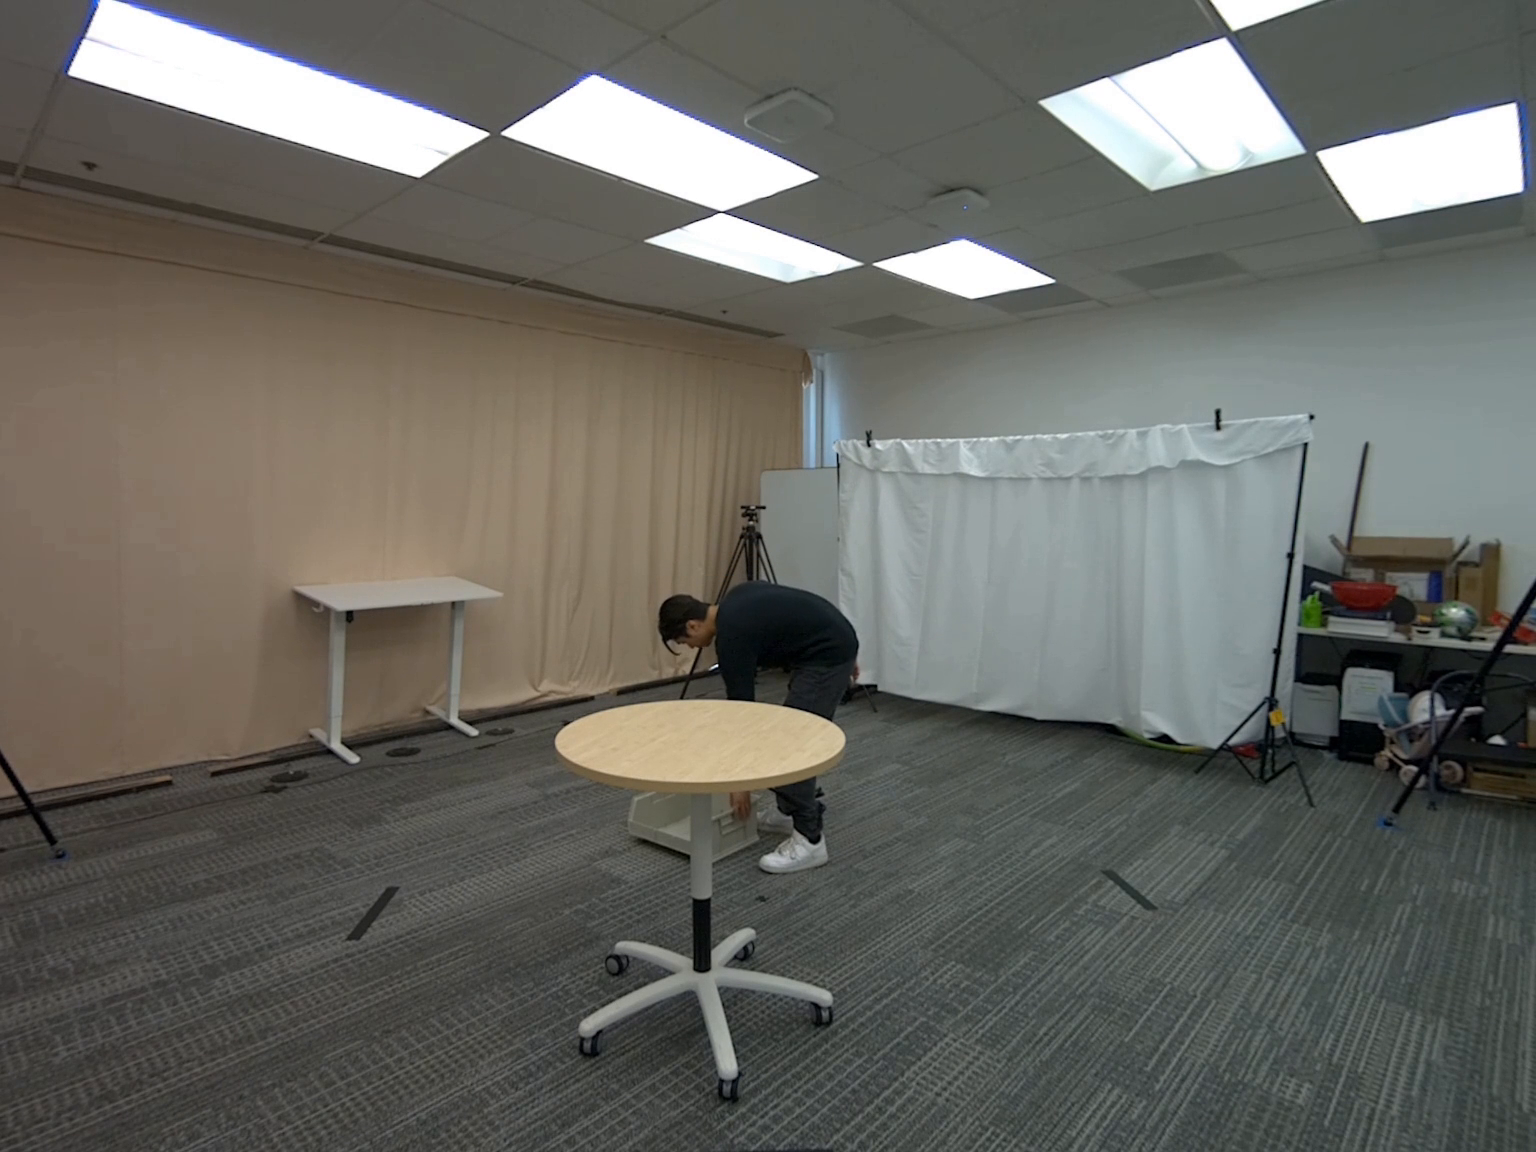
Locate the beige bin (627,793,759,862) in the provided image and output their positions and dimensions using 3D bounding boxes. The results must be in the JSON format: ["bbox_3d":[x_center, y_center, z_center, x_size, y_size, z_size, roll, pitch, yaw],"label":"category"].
[{"bbox_3d":[-0.305,1.011,3.509,0.436,0.189,0.366,3,4,39],"label":"beige bin"}]
